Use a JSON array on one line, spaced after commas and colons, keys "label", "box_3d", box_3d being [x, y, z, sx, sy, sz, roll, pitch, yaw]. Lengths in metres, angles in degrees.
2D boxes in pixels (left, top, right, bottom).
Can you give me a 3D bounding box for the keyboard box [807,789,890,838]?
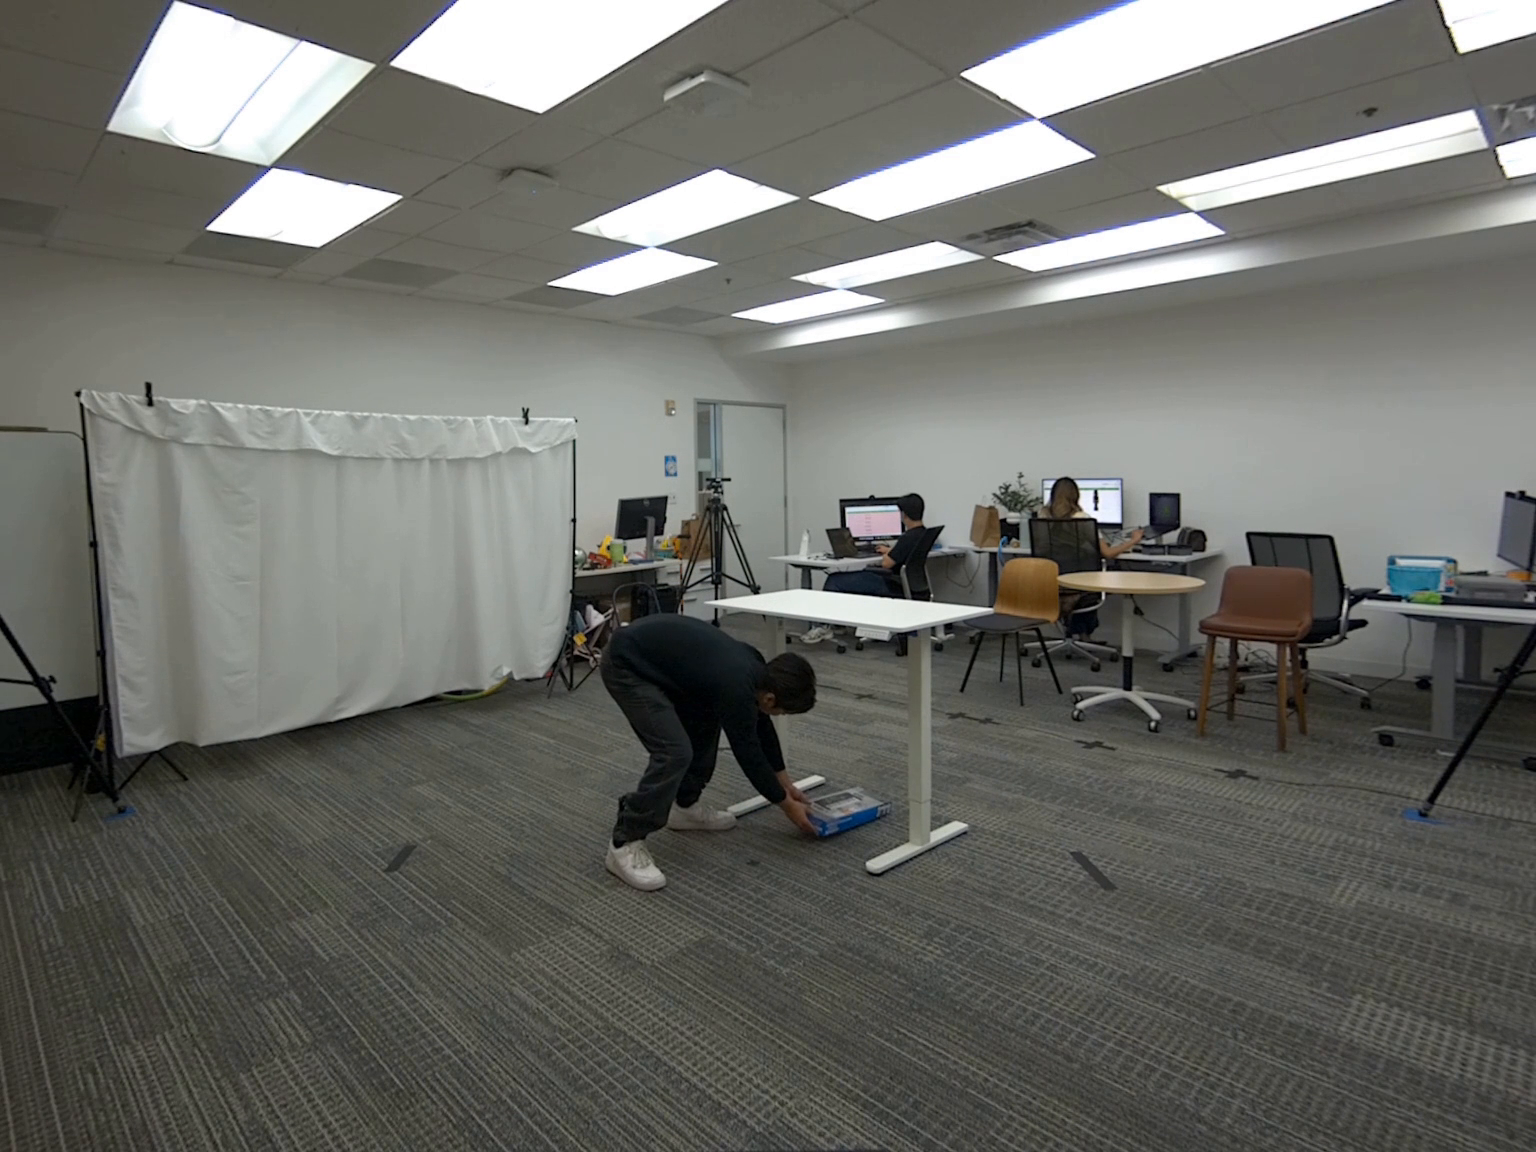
[{"label": "keyboard box", "box_3d": [0.302, 0.938, 3.440, 0.424, 0.059, 0.182, -1, 10, -45]}]
